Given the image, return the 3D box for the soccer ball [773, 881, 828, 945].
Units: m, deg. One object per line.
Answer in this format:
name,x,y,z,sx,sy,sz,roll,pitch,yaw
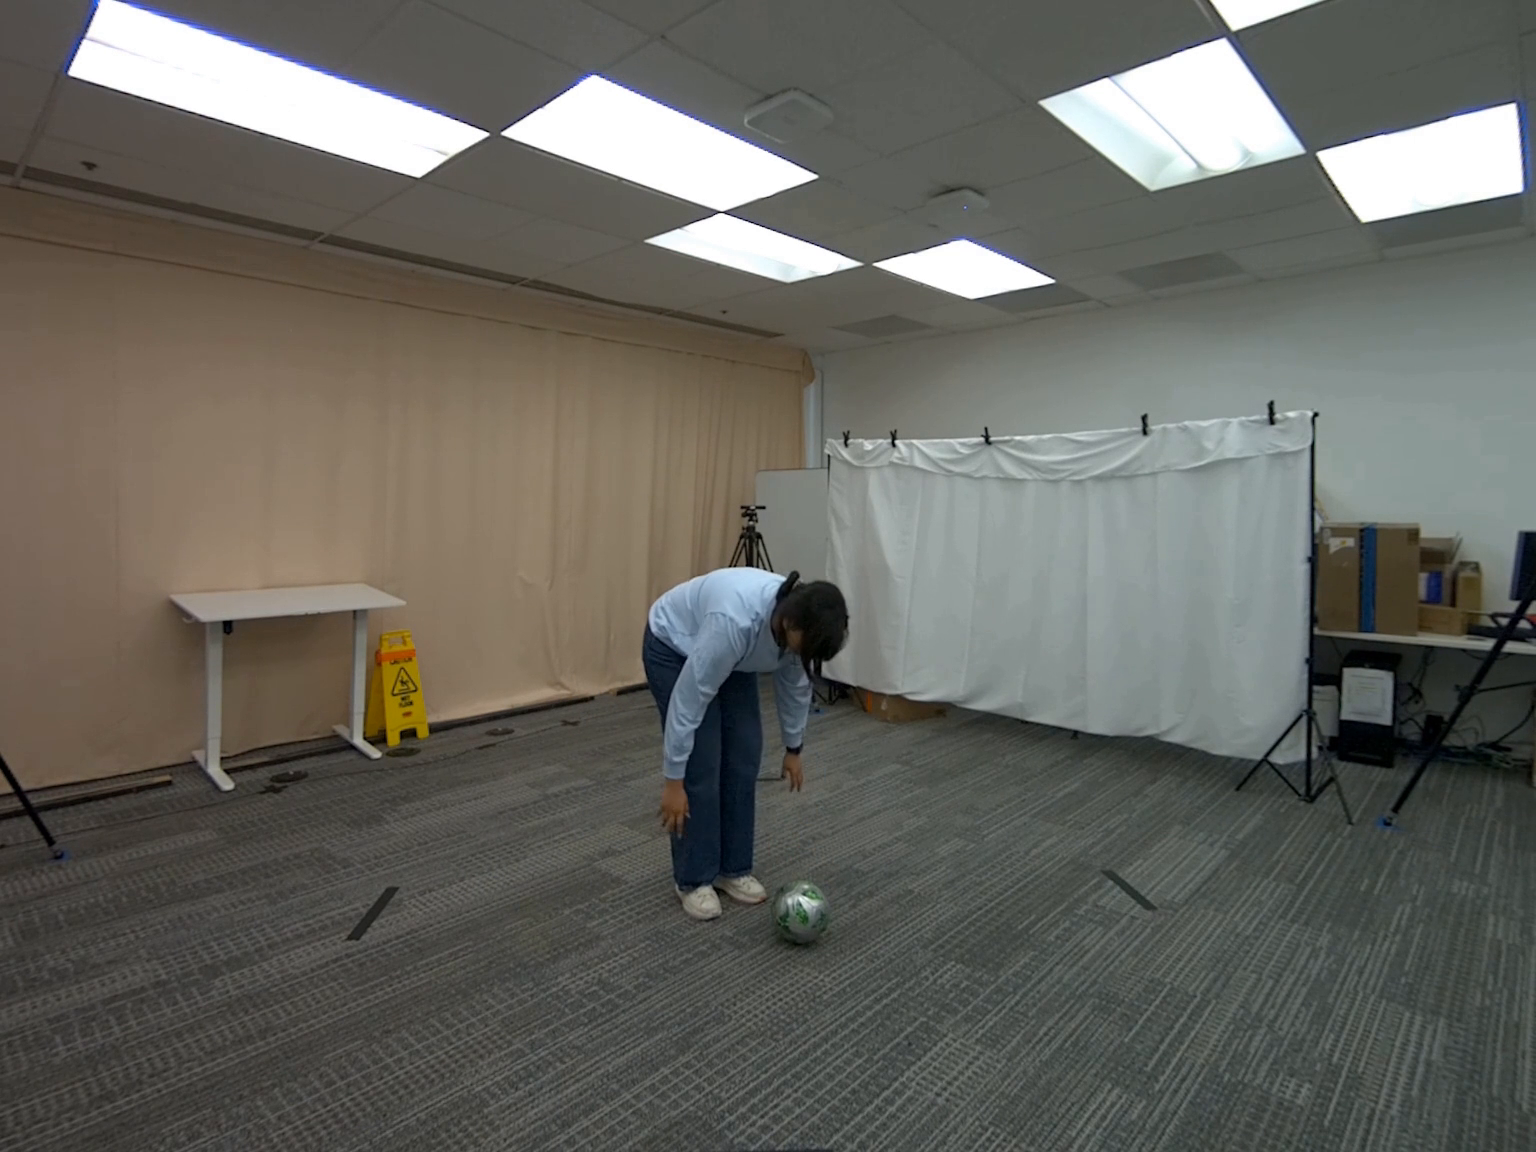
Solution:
soccer ball,0.104,1.071,2.693,0.187,0.187,0.188,0,4,-2
